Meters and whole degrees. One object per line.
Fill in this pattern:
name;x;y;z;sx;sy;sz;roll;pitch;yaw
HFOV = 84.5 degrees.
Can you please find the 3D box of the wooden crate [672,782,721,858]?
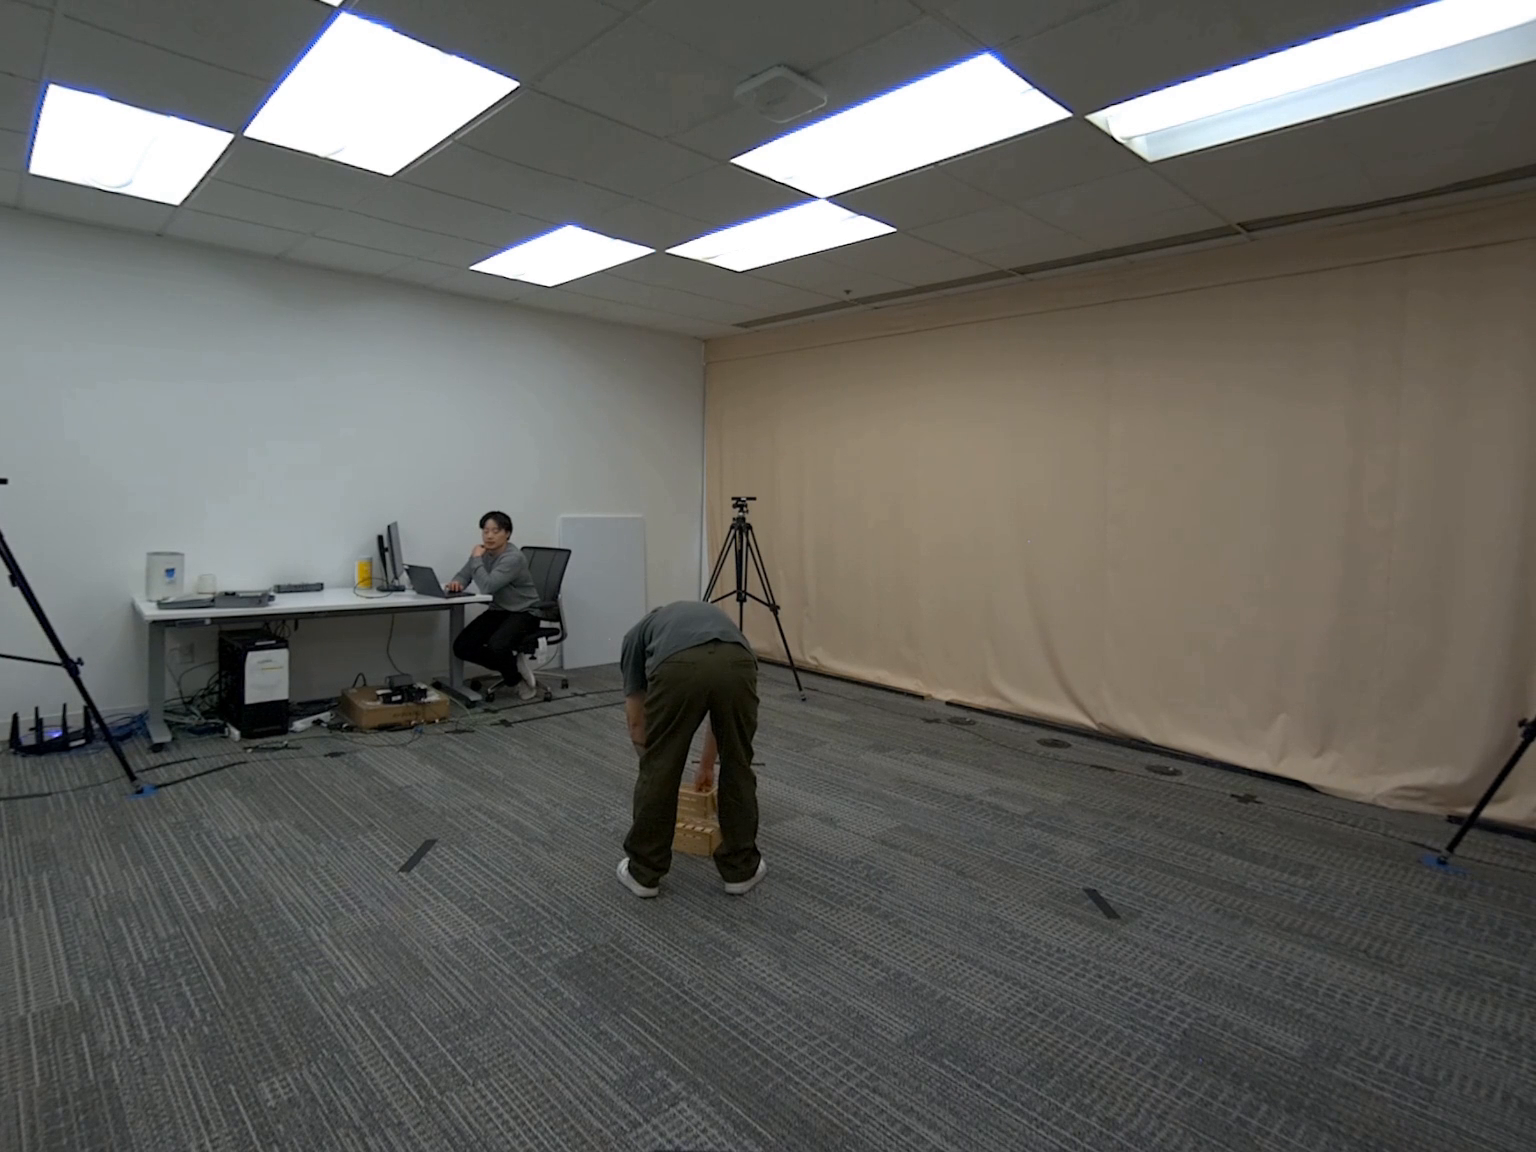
wooden crate;-0.330;0.954;3.409;0.330;0.273;0.297;2;2;22
